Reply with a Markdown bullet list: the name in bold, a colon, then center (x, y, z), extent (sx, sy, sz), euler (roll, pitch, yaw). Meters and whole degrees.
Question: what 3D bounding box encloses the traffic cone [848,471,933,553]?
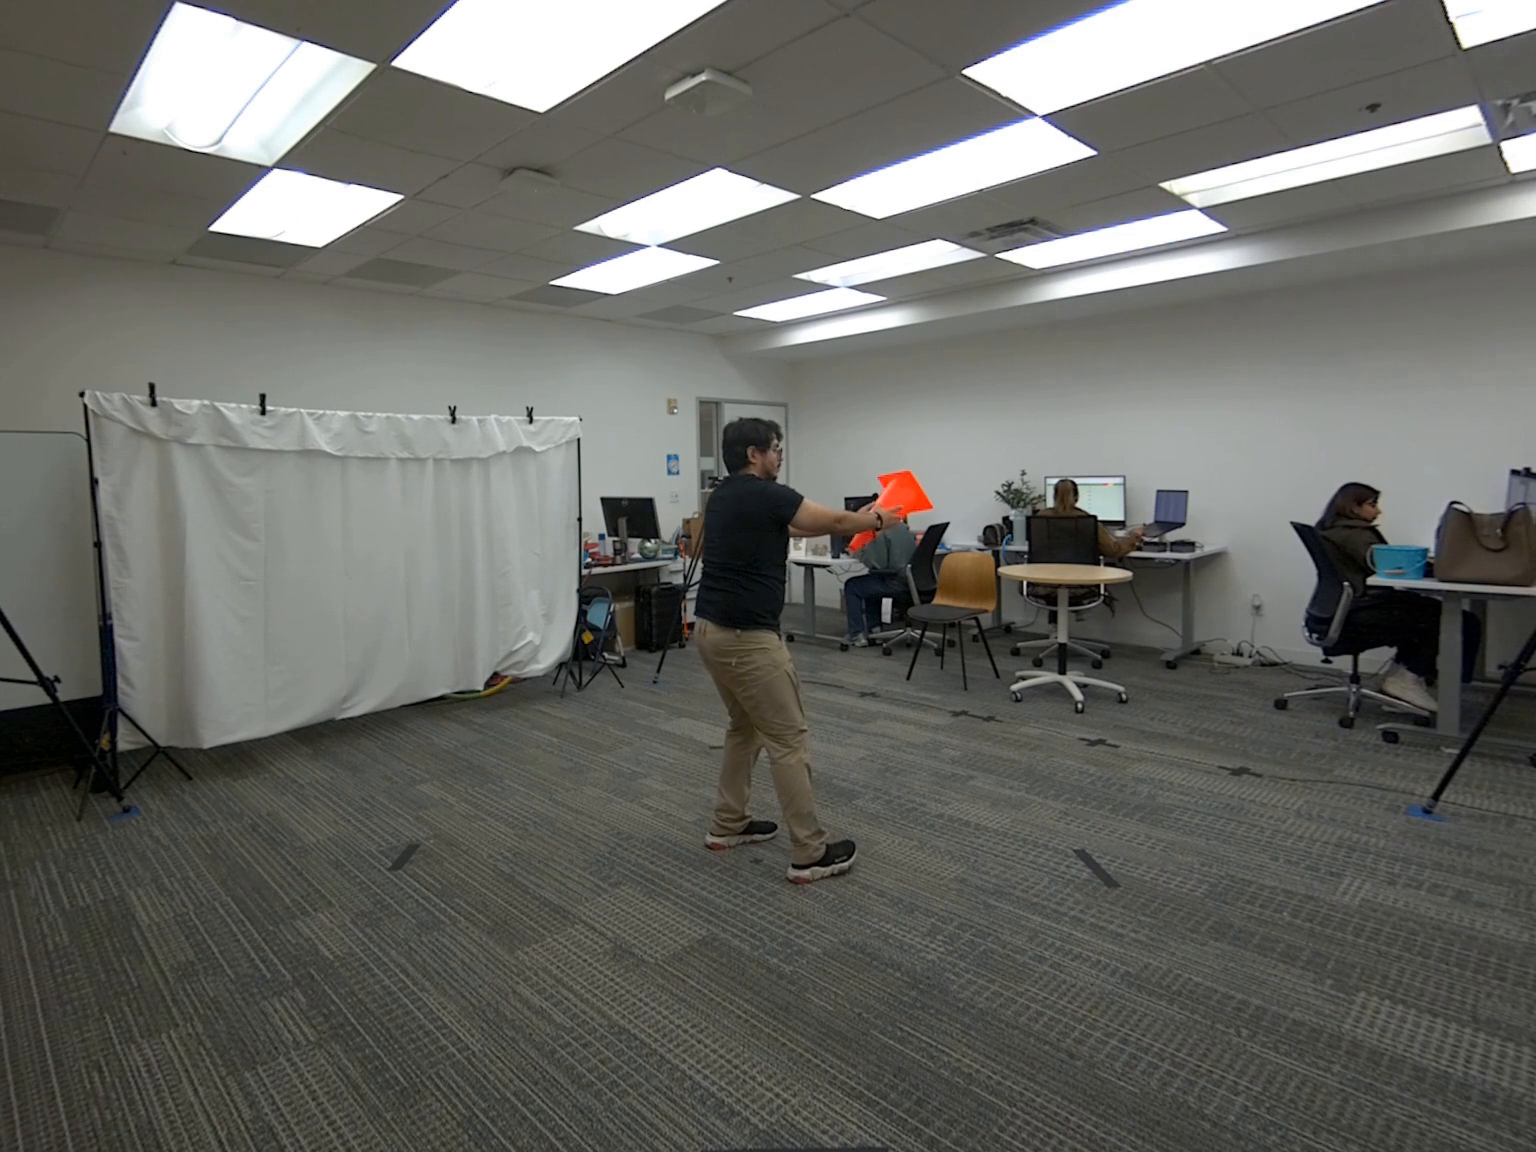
- **traffic cone**: center (0.456, -0.217, 3.424), extent (0.383, 0.199, 0.209), euler (-44, 17, -26)
